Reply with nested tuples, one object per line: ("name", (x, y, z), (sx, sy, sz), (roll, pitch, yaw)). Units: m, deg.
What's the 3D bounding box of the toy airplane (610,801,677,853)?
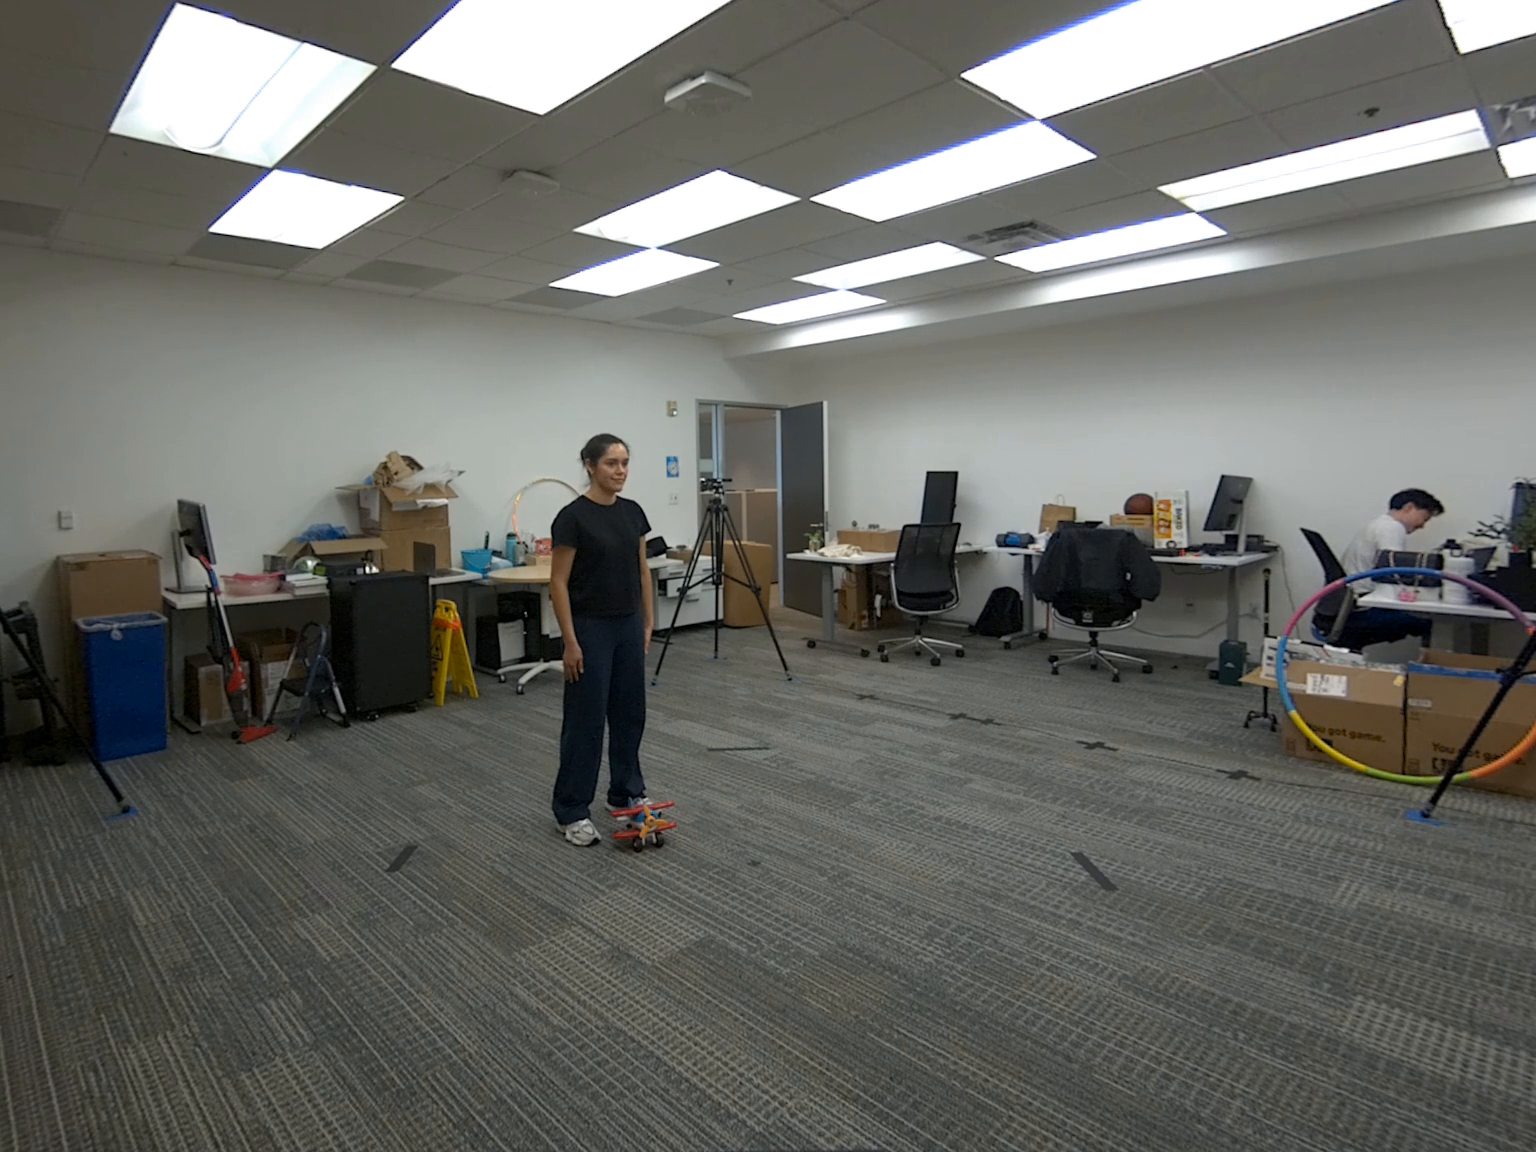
("toy airplane", (-0.511, 0.956, 3.321), (0.267, 0.156, 0.245), (5, 7, 35))
